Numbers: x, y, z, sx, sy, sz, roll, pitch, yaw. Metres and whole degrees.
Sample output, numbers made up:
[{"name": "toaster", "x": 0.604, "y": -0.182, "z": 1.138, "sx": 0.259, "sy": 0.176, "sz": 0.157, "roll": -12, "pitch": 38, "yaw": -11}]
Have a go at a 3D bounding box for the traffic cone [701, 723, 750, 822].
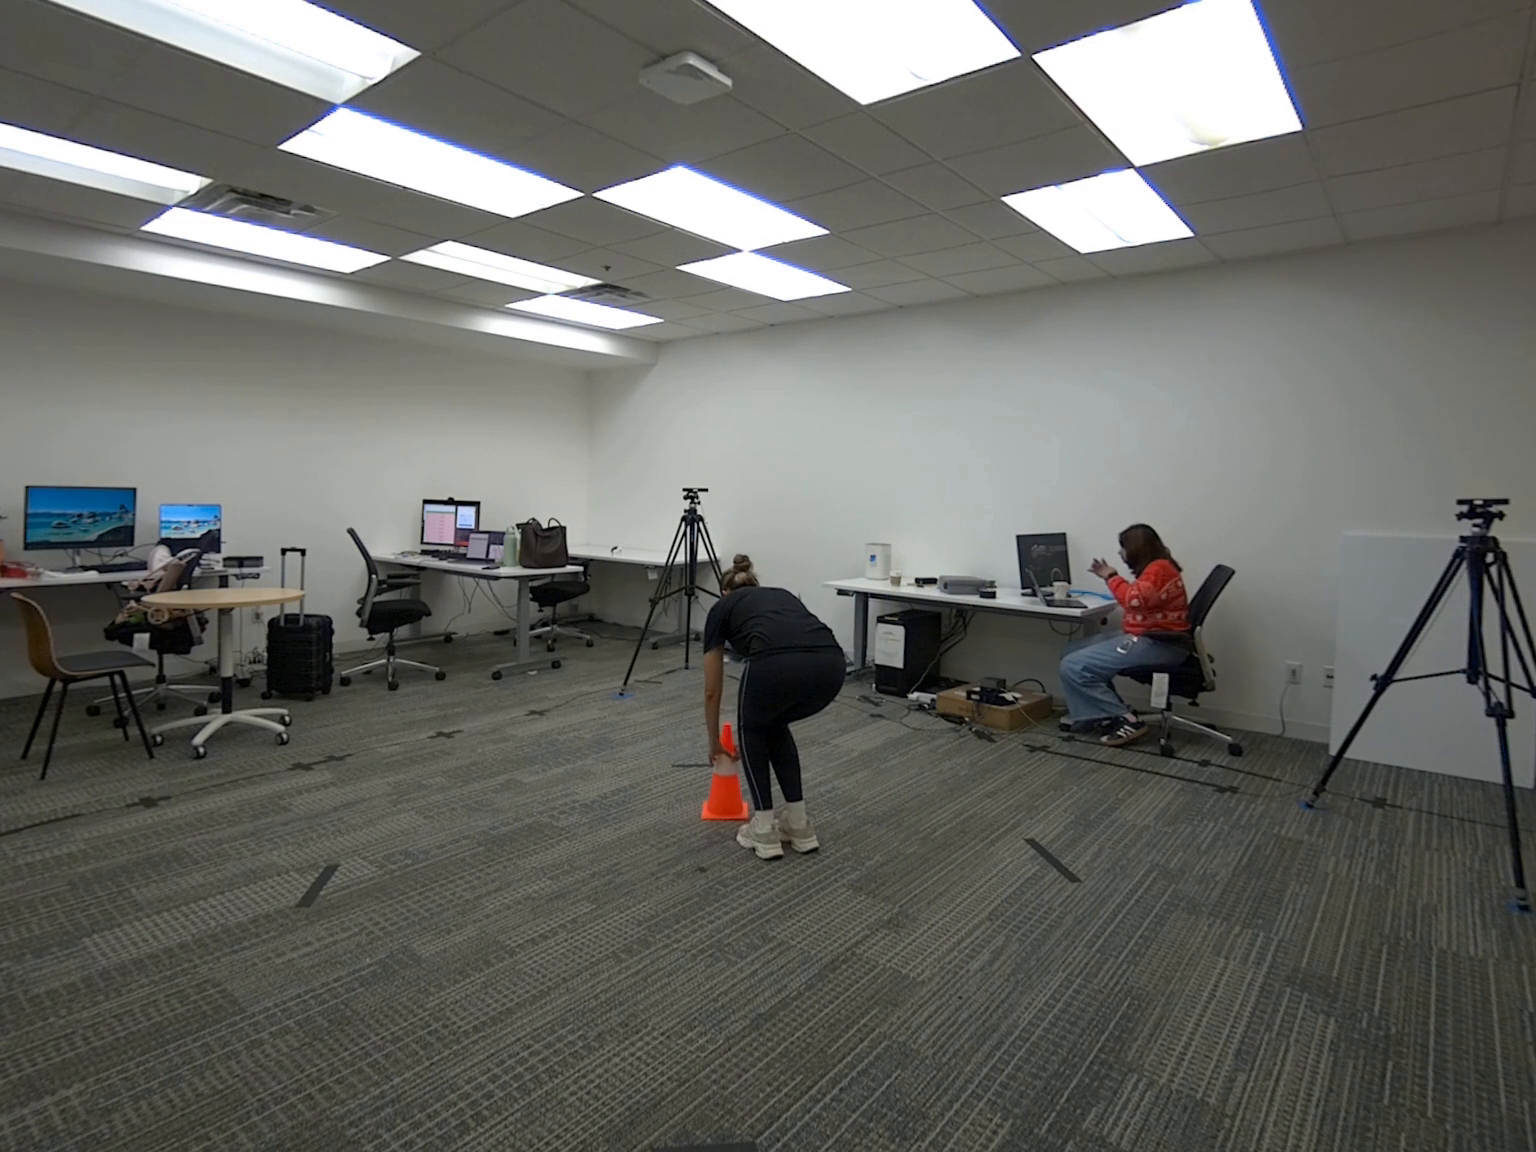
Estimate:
[{"name": "traffic cone", "x": -0.189, "y": 0.816, "z": 3.666, "sx": 0.205, "sy": 0.382, "sz": 0.204, "roll": 2, "pitch": 6, "yaw": 1}]
